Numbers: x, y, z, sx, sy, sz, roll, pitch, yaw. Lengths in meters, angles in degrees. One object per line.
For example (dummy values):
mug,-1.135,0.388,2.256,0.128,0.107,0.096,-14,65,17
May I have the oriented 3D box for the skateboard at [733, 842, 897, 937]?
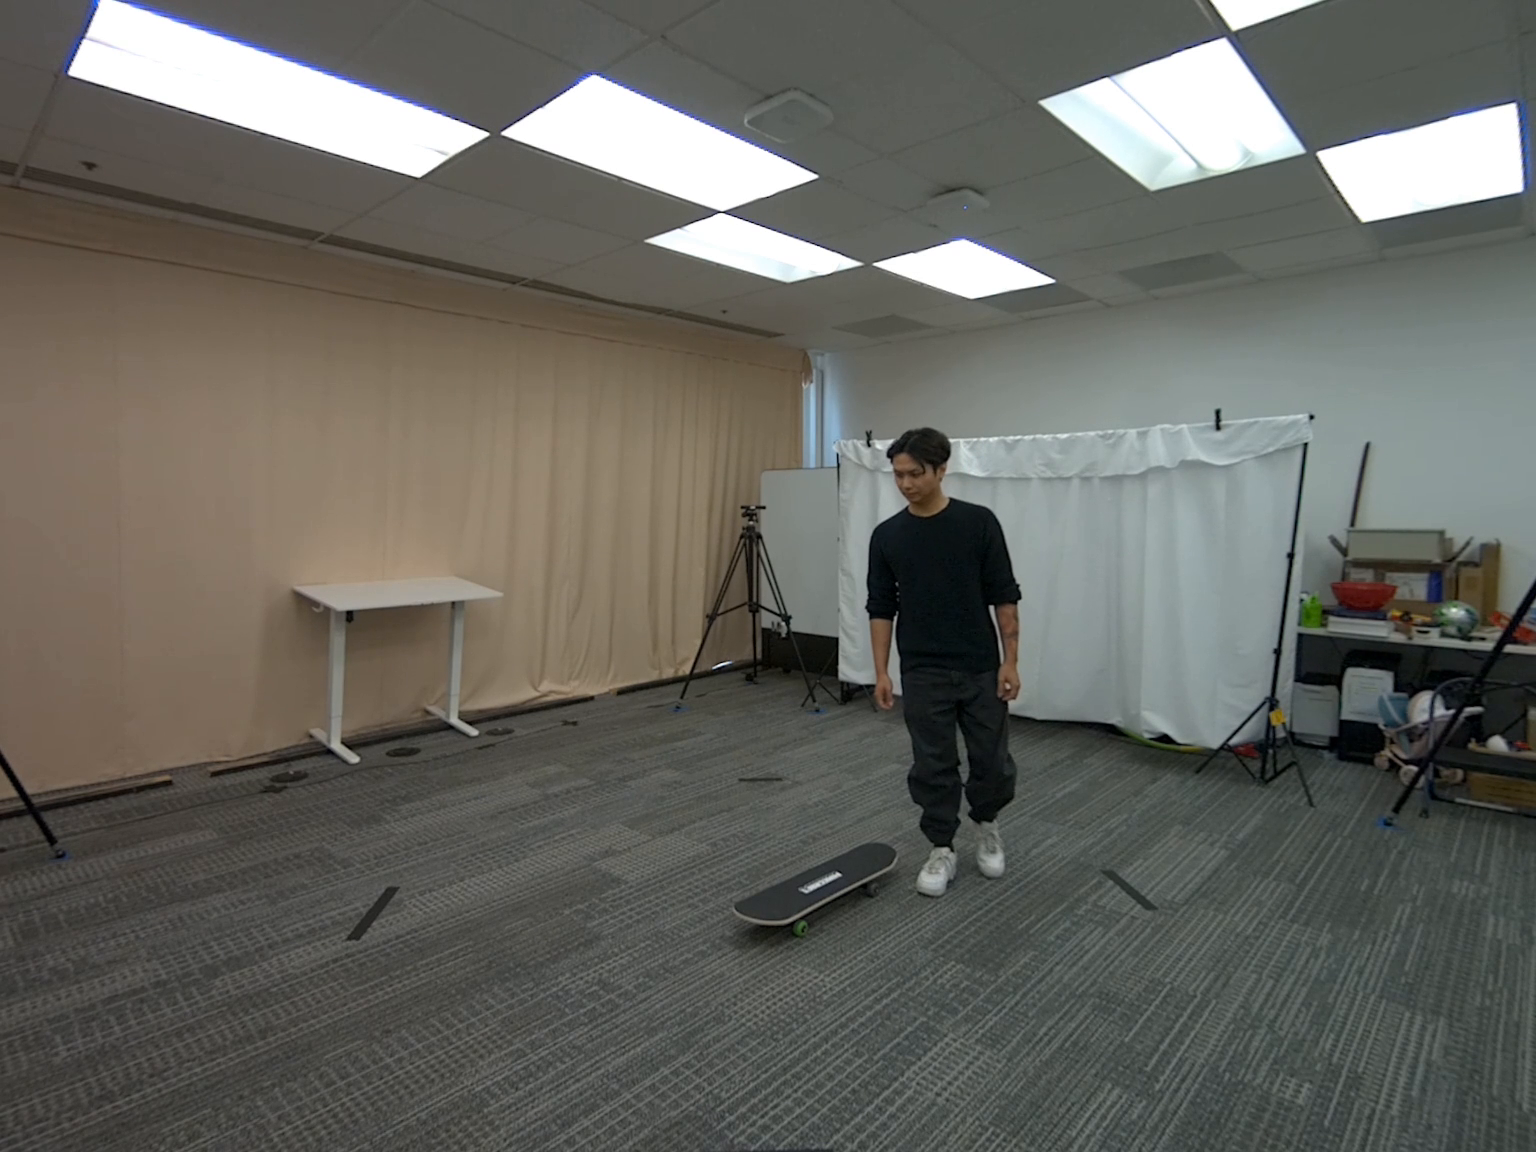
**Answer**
skateboard,0.184,1.094,2.916,0.200,0.110,0.761,4,6,44
